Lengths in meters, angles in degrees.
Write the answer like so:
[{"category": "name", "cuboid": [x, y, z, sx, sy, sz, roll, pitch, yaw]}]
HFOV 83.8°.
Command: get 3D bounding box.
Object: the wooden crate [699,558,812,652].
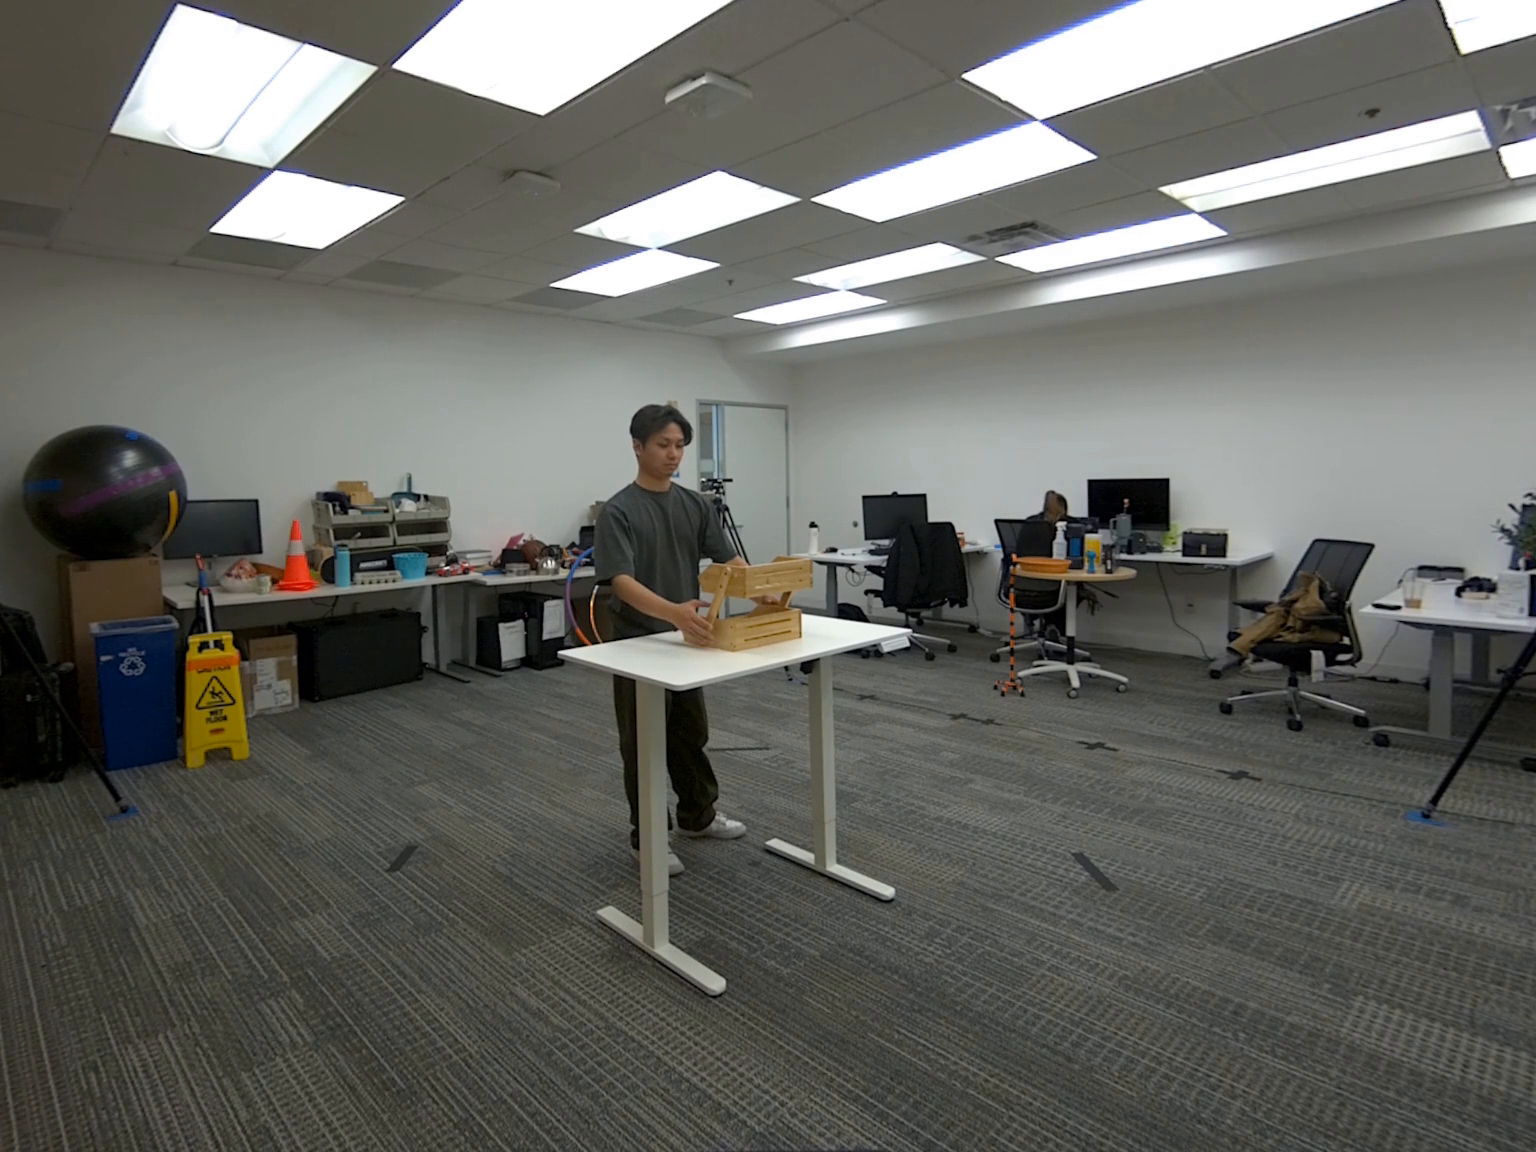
[{"category": "wooden crate", "cuboid": [-0.066, 0.075, 2.718, 0.316, 0.272, 0.311, -7, 9, -43]}]
